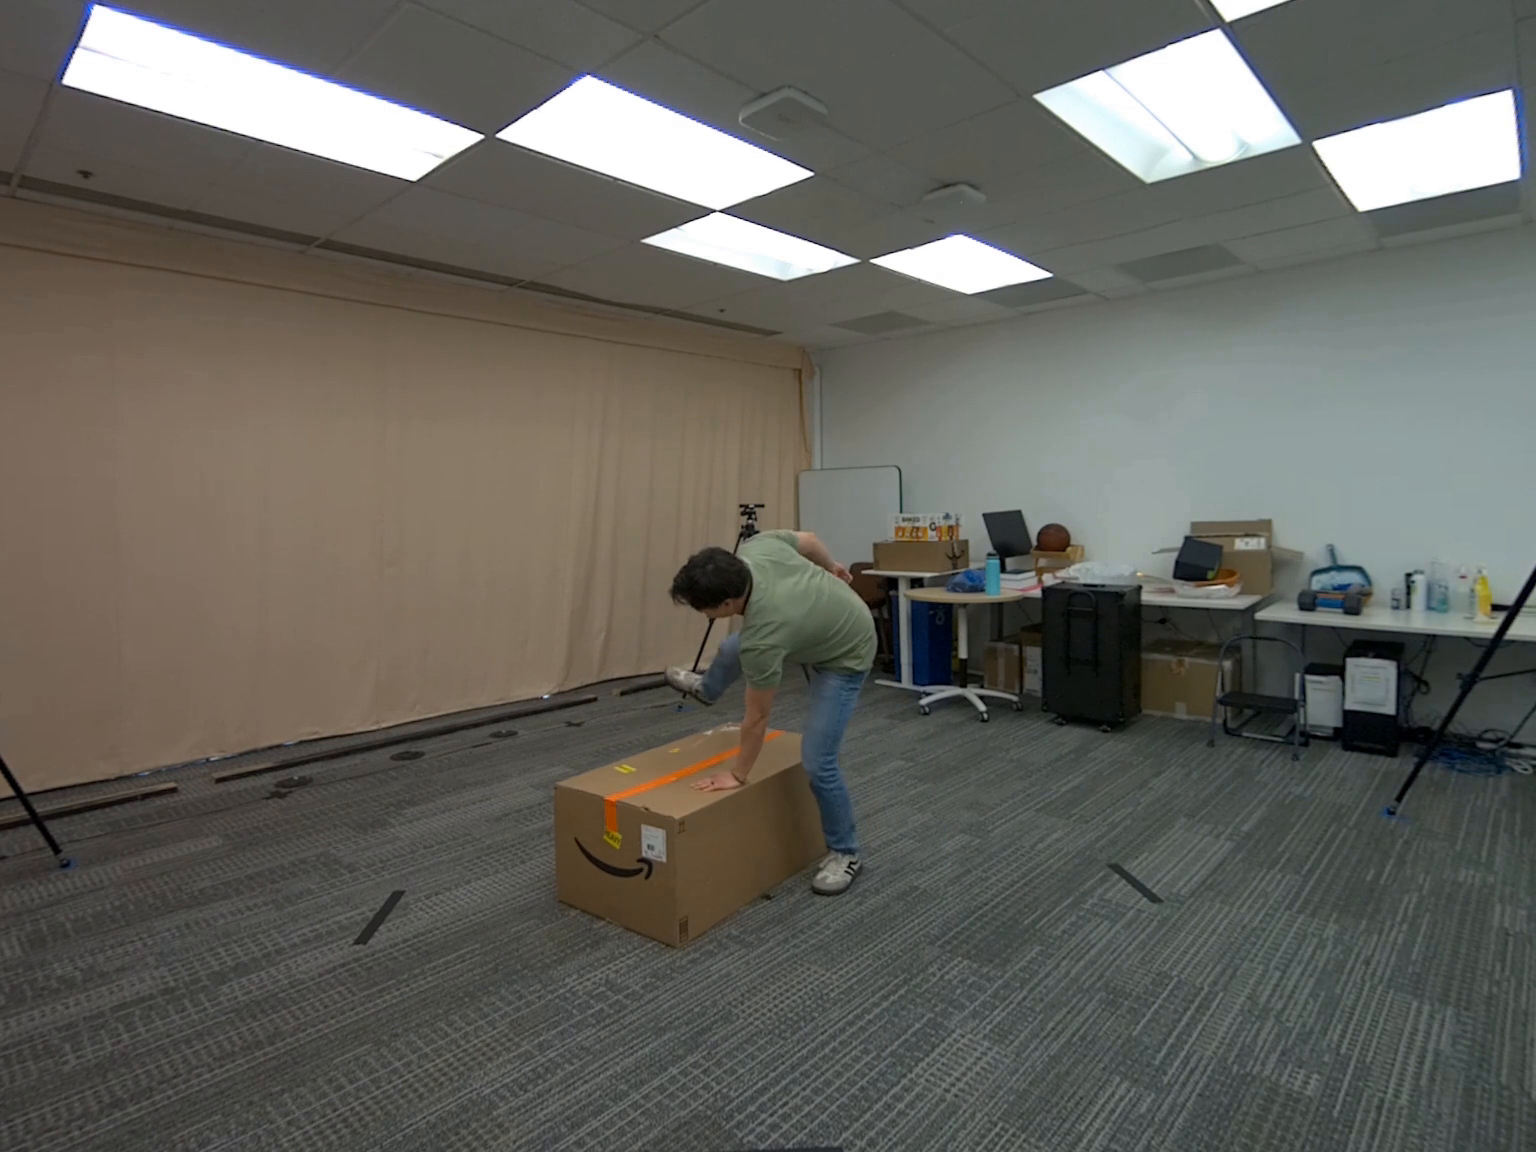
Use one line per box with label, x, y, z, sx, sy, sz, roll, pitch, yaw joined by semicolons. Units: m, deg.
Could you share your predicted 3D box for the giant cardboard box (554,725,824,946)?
giant cardboard box;-0.226;0.914;3.203;0.596;0.425;0.996;2;6;36
